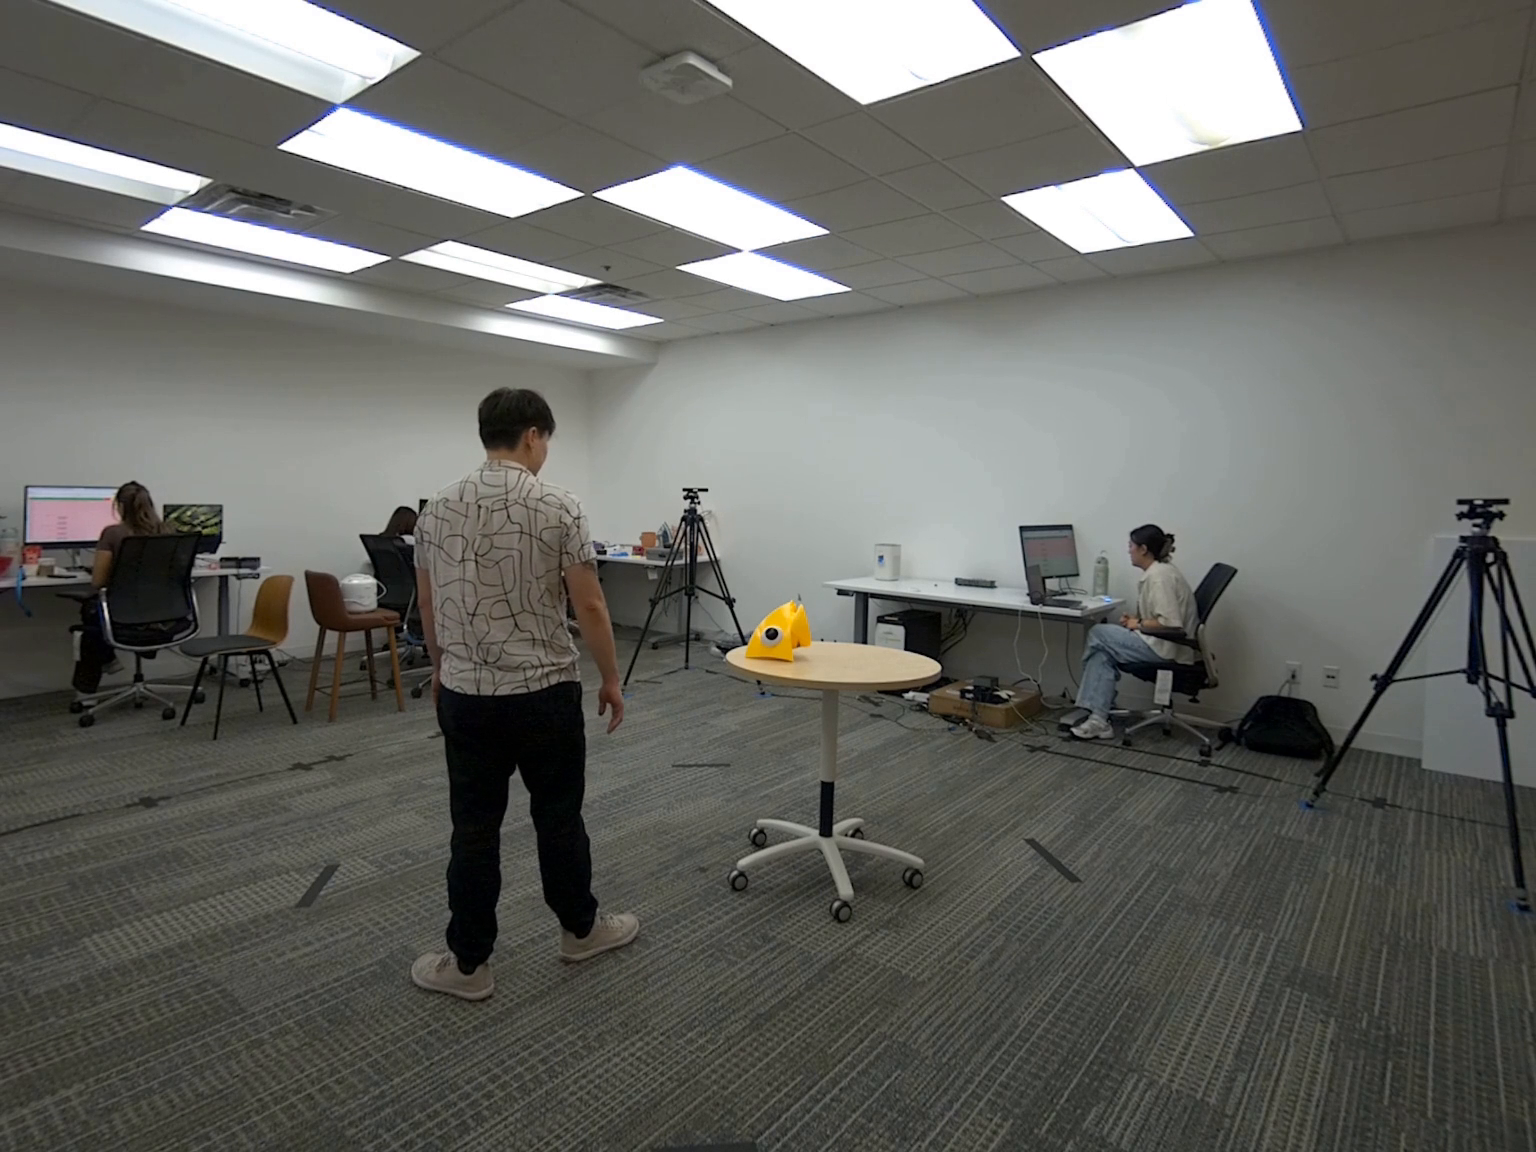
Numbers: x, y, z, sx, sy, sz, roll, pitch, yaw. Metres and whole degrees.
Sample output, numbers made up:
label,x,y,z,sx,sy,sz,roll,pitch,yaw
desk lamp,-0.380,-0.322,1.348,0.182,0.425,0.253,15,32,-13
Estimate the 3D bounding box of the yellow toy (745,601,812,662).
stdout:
label,x,y,z,sx,sy,sz,roll,pitch,yaw
yellow toy,0.003,0.203,3.073,0.229,0.192,0.208,-12,7,-10
